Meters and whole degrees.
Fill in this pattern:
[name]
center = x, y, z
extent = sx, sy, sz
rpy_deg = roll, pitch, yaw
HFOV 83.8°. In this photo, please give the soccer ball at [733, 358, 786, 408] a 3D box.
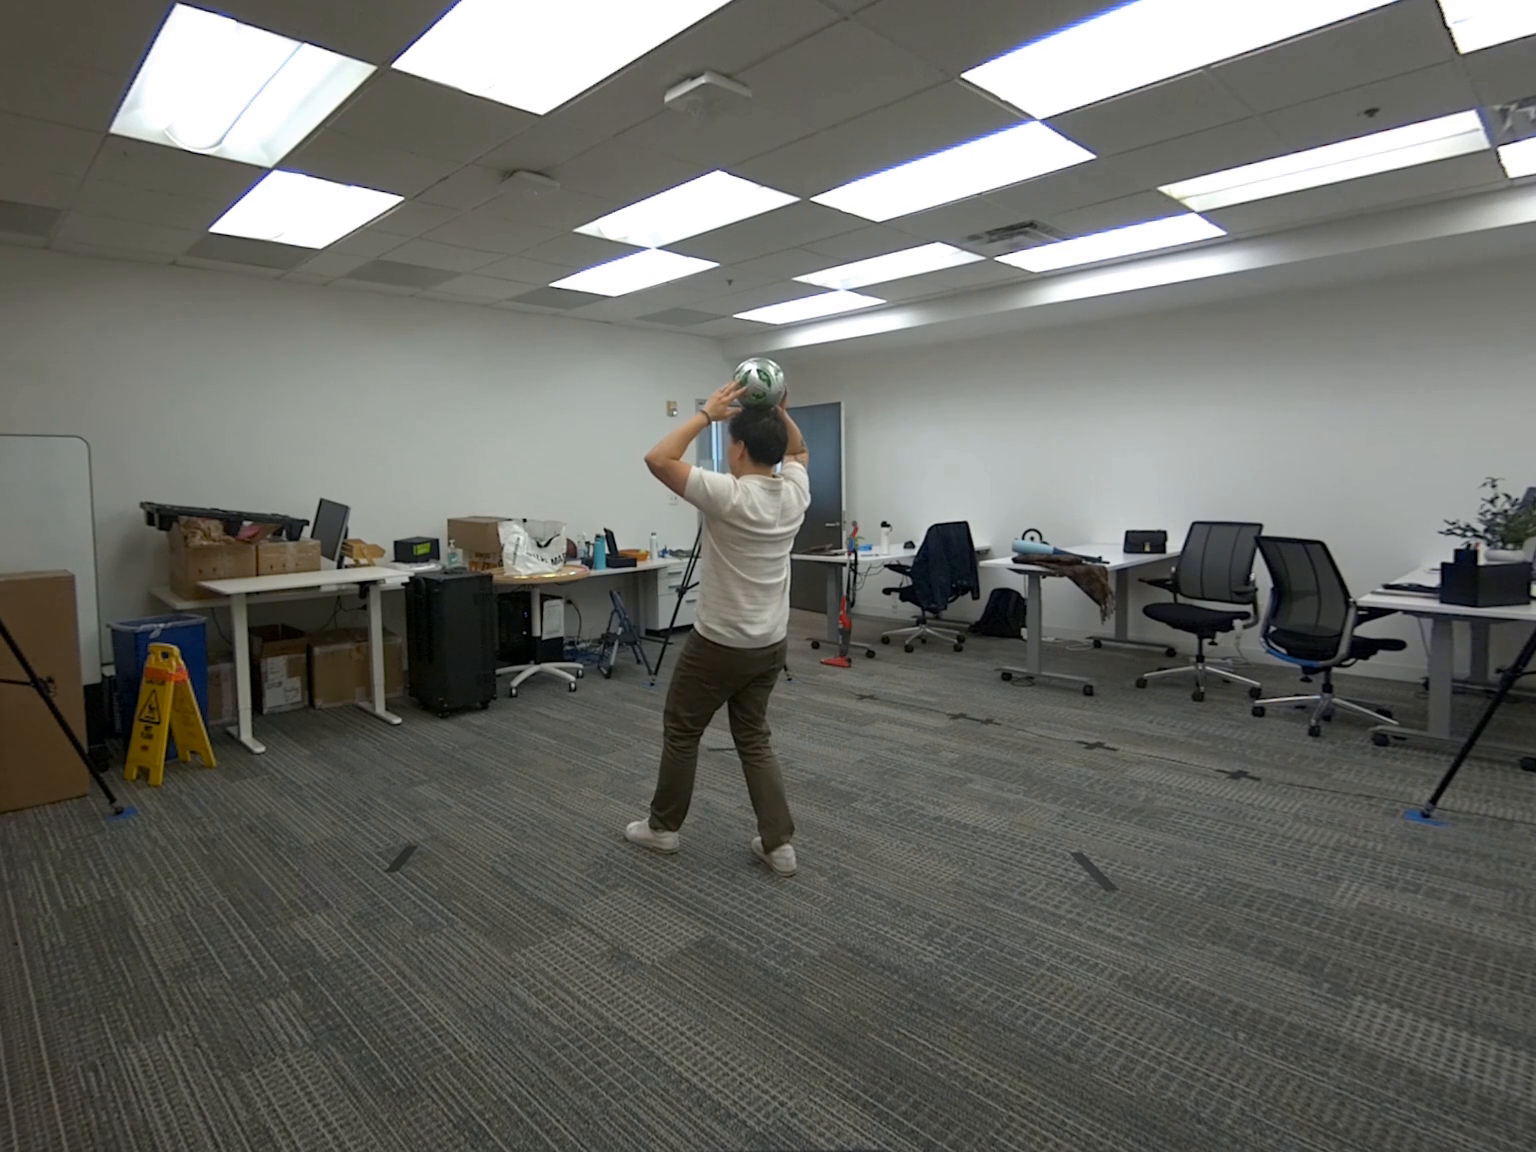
[soccer ball]
center = -0.028, -0.662, 2.986
extent = 0.187, 0.187, 0.188
rpy_deg = -1, 5, -2
